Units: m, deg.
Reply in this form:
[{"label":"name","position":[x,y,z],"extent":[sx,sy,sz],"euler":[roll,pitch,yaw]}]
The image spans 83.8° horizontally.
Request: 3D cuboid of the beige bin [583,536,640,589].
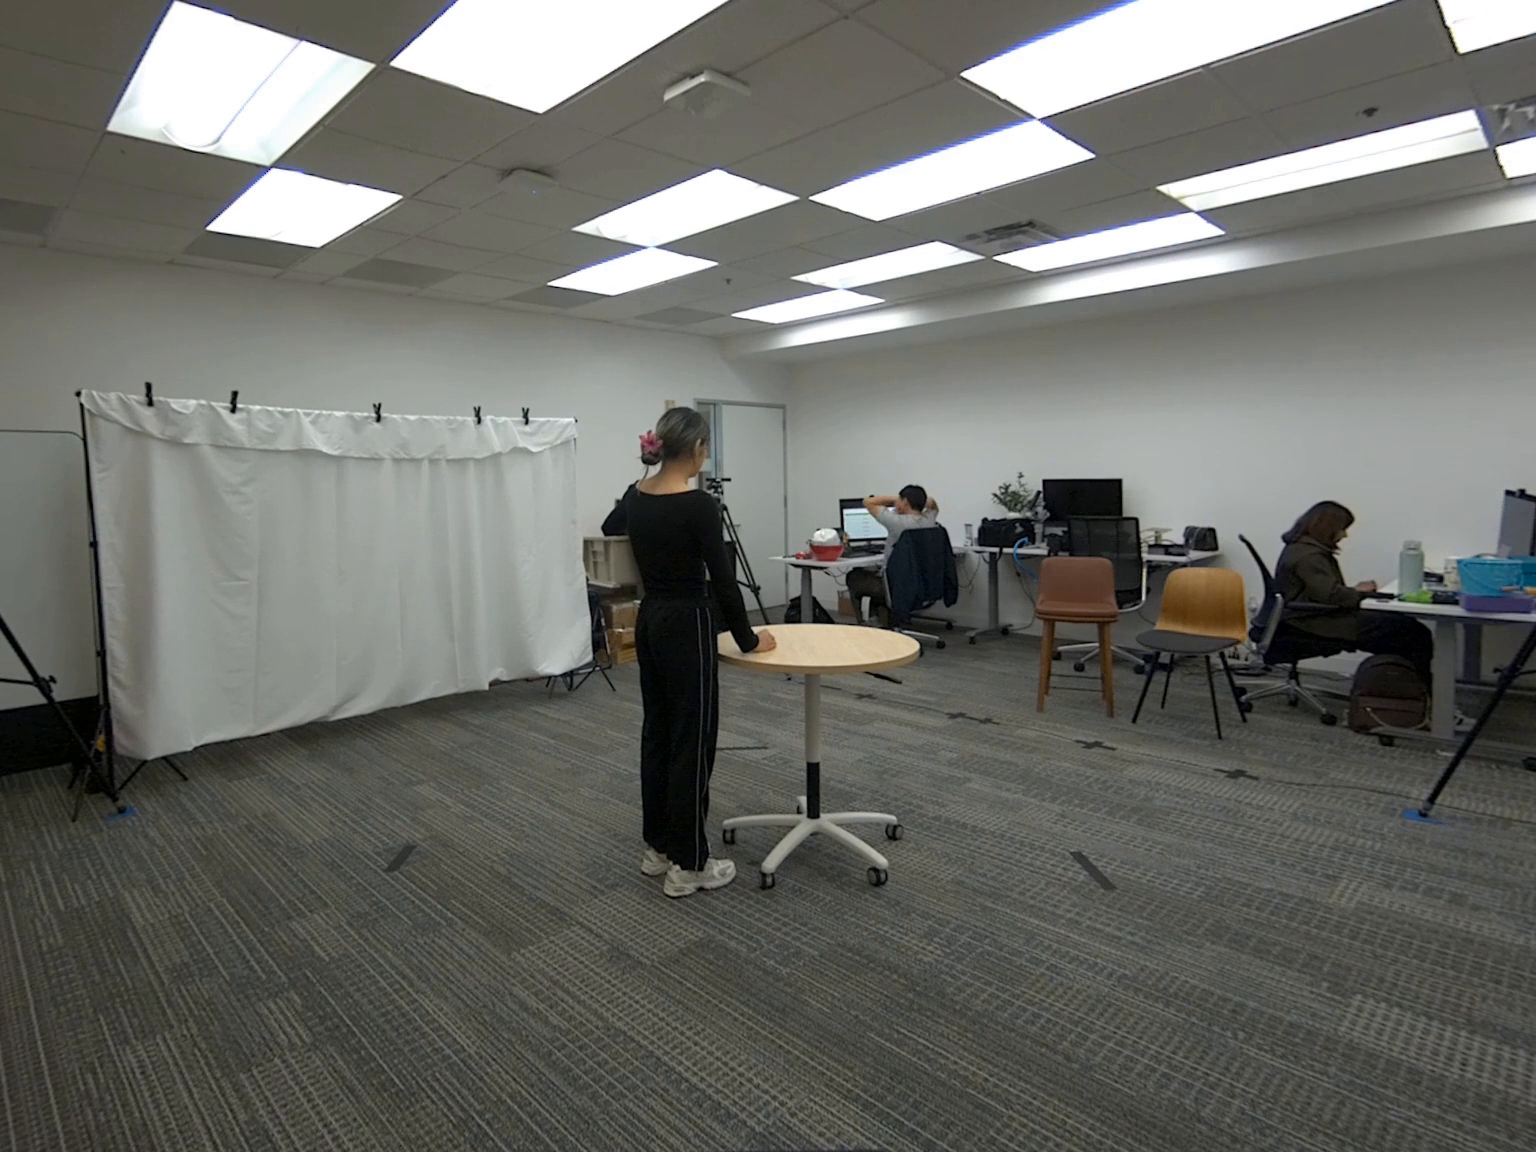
[{"label":"beige bin","position":[-0.448,-0.068,3.226],"extent":[0.414,0.188,0.386],"euler":[-5,5,-25]}]
